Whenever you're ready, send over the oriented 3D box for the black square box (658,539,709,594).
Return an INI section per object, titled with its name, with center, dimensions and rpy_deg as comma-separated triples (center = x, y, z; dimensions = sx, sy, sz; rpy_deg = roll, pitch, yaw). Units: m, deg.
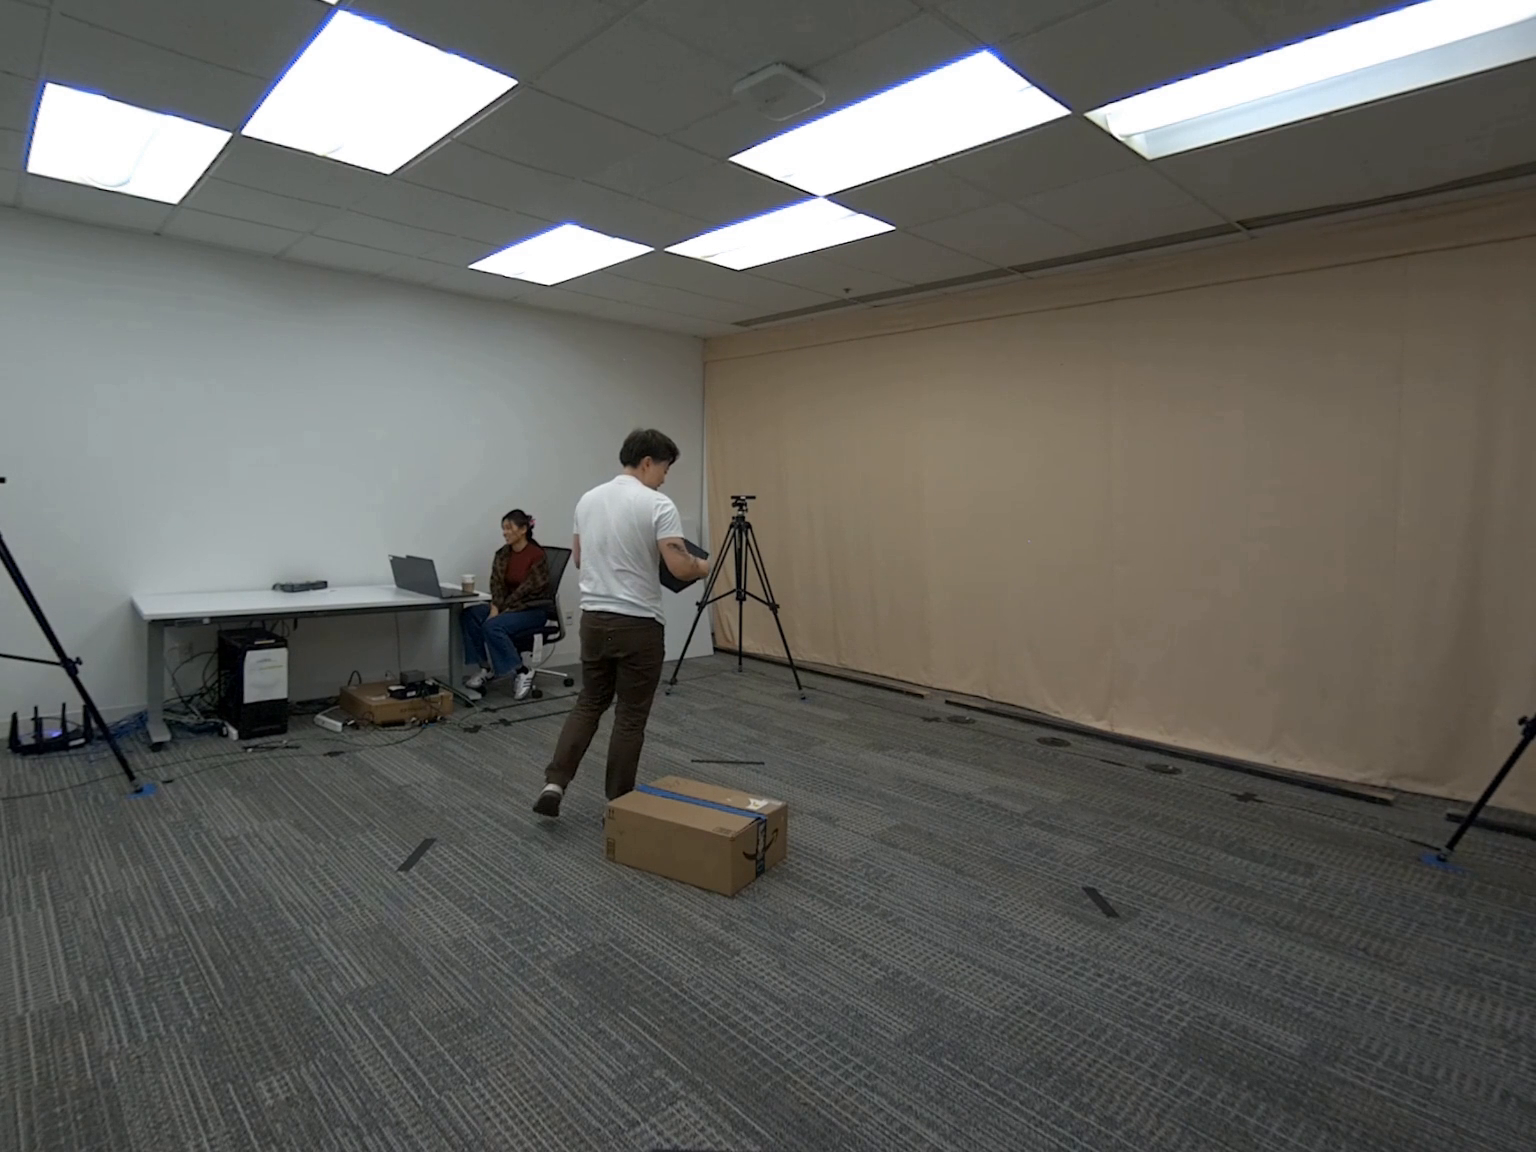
[black square box]
center = -0.435, -0.061, 3.767
dimensions = 0.214, 0.157, 0.229
rpy_deg = 33, -27, -15
